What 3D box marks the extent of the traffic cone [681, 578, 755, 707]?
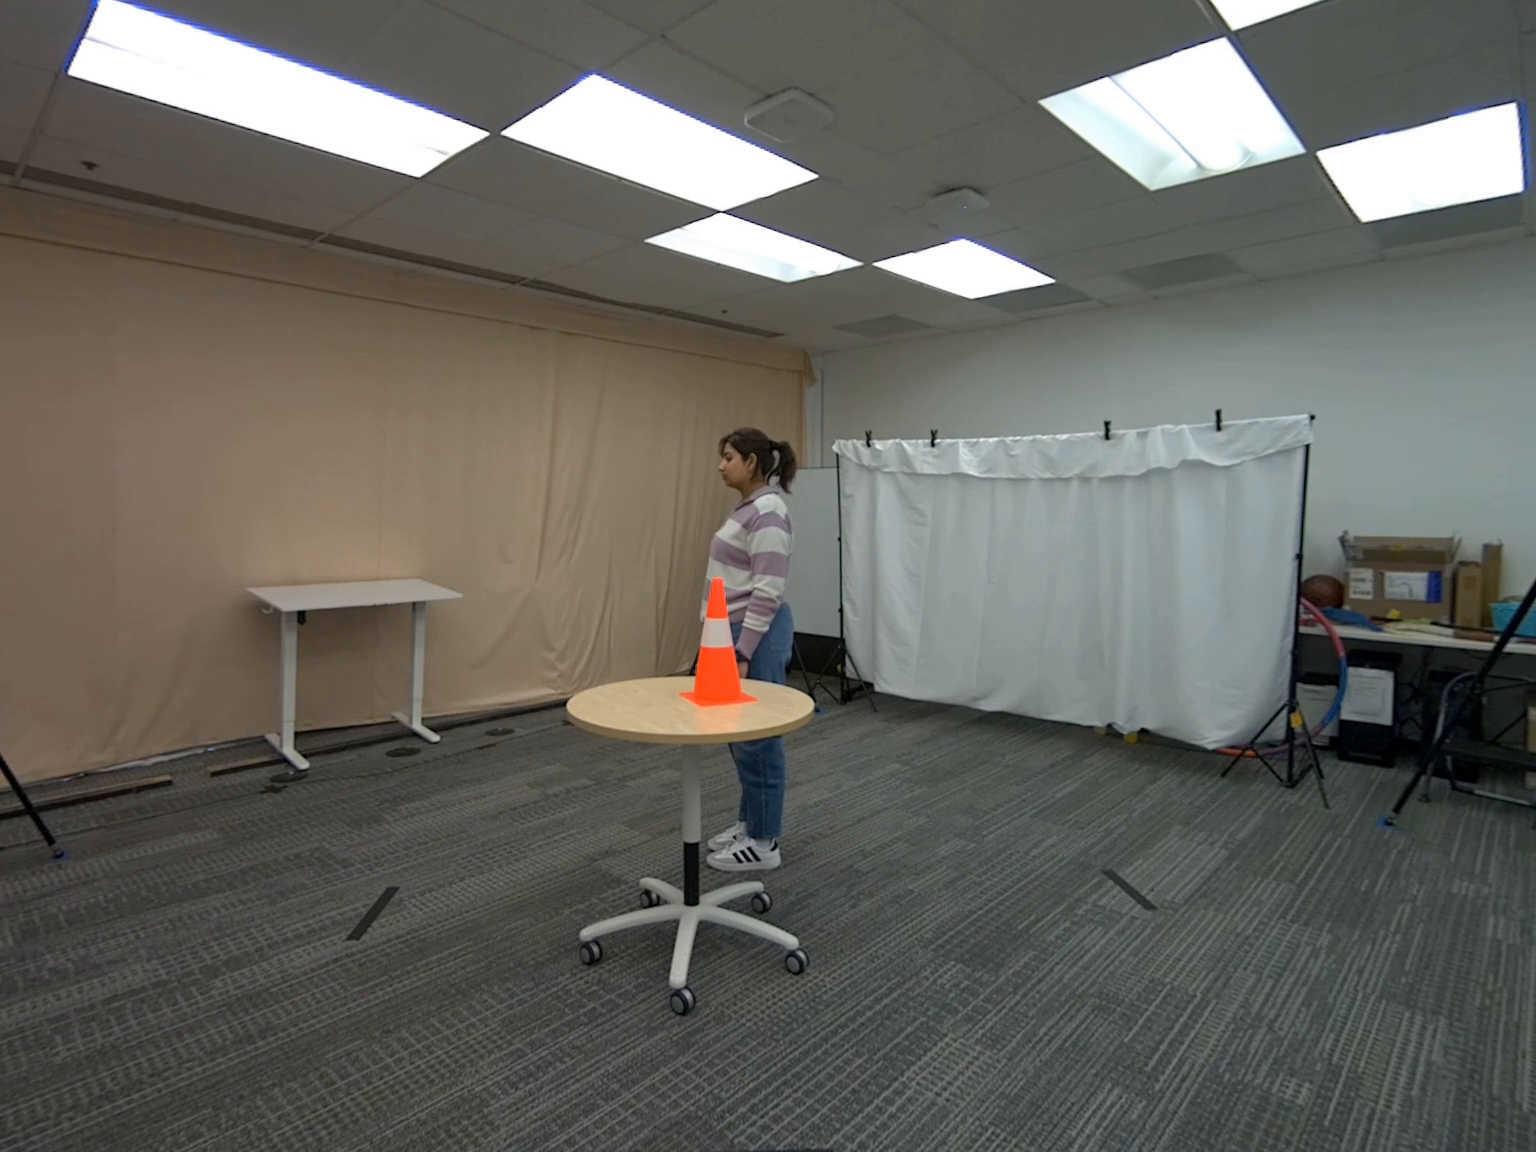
[{"bbox_3d":[-0.161,0.198,2.671,0.199,0.383,0.210,-3,3,-25],"label":"traffic cone"}]
